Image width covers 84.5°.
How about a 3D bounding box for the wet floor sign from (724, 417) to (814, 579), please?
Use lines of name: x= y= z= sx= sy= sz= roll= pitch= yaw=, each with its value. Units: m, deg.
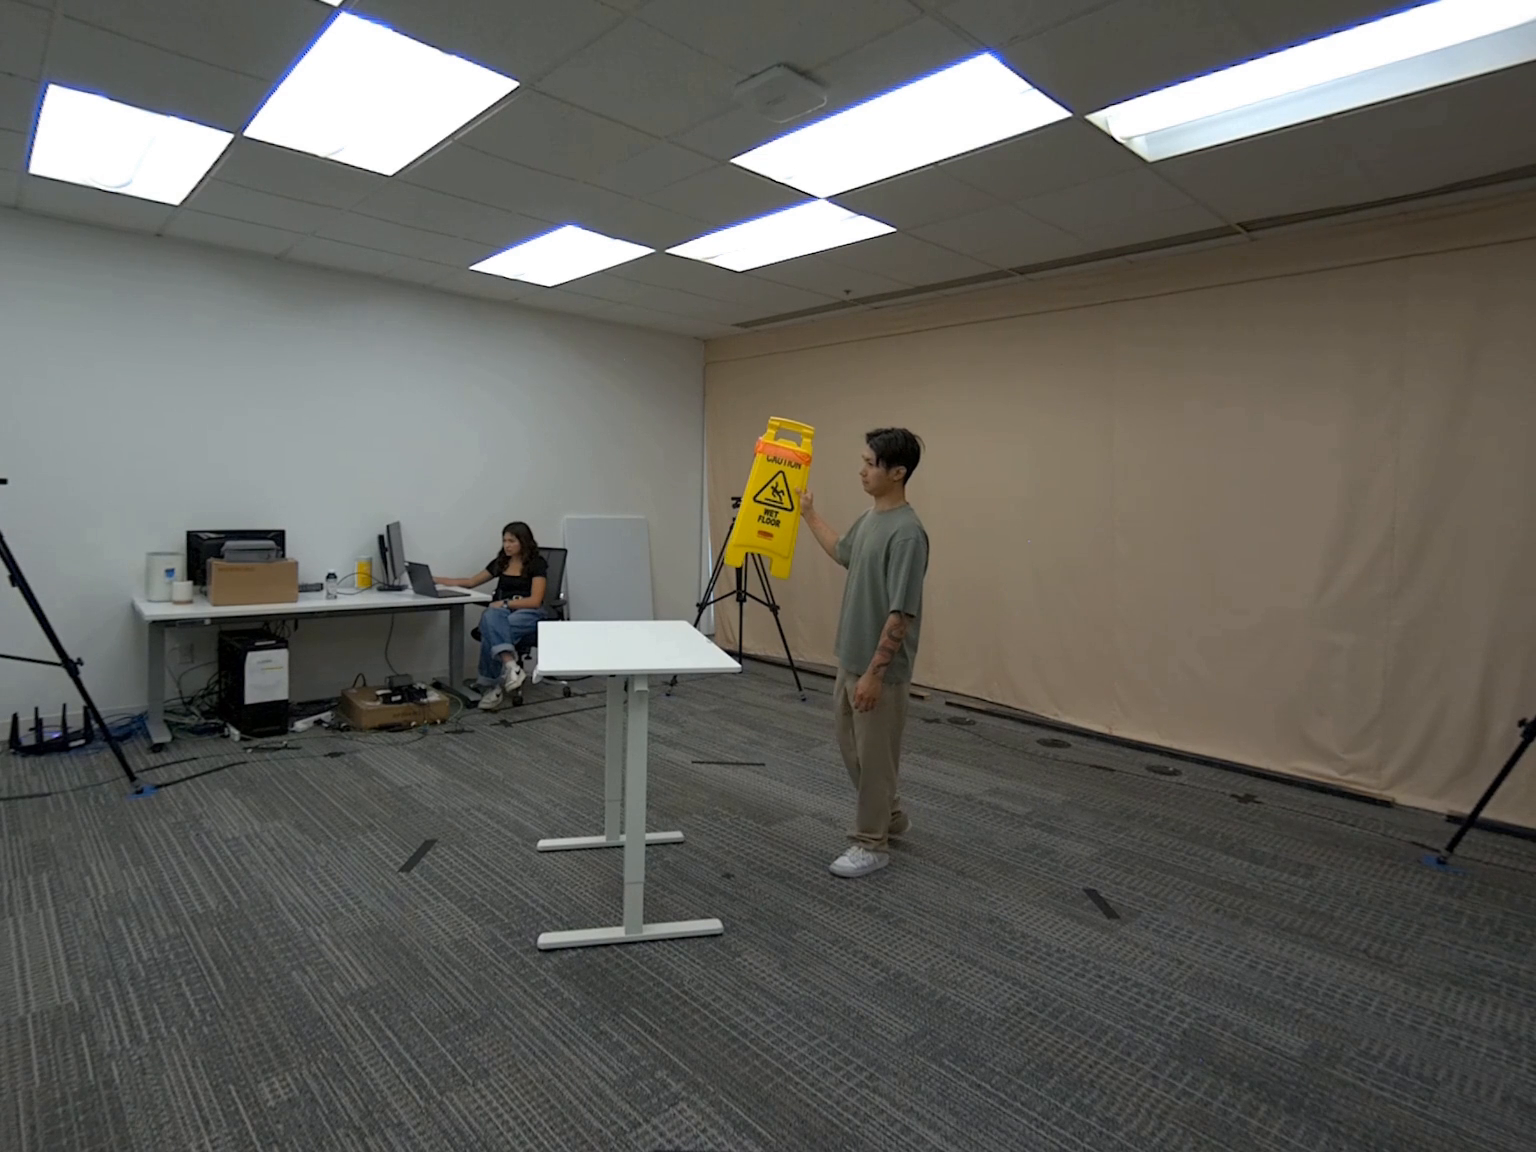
wet floor sign: x=0.020 y=-0.348 z=3.616 sx=0.281 sy=0.644 sz=0.291 roll=14 pitch=4 yaw=-3
